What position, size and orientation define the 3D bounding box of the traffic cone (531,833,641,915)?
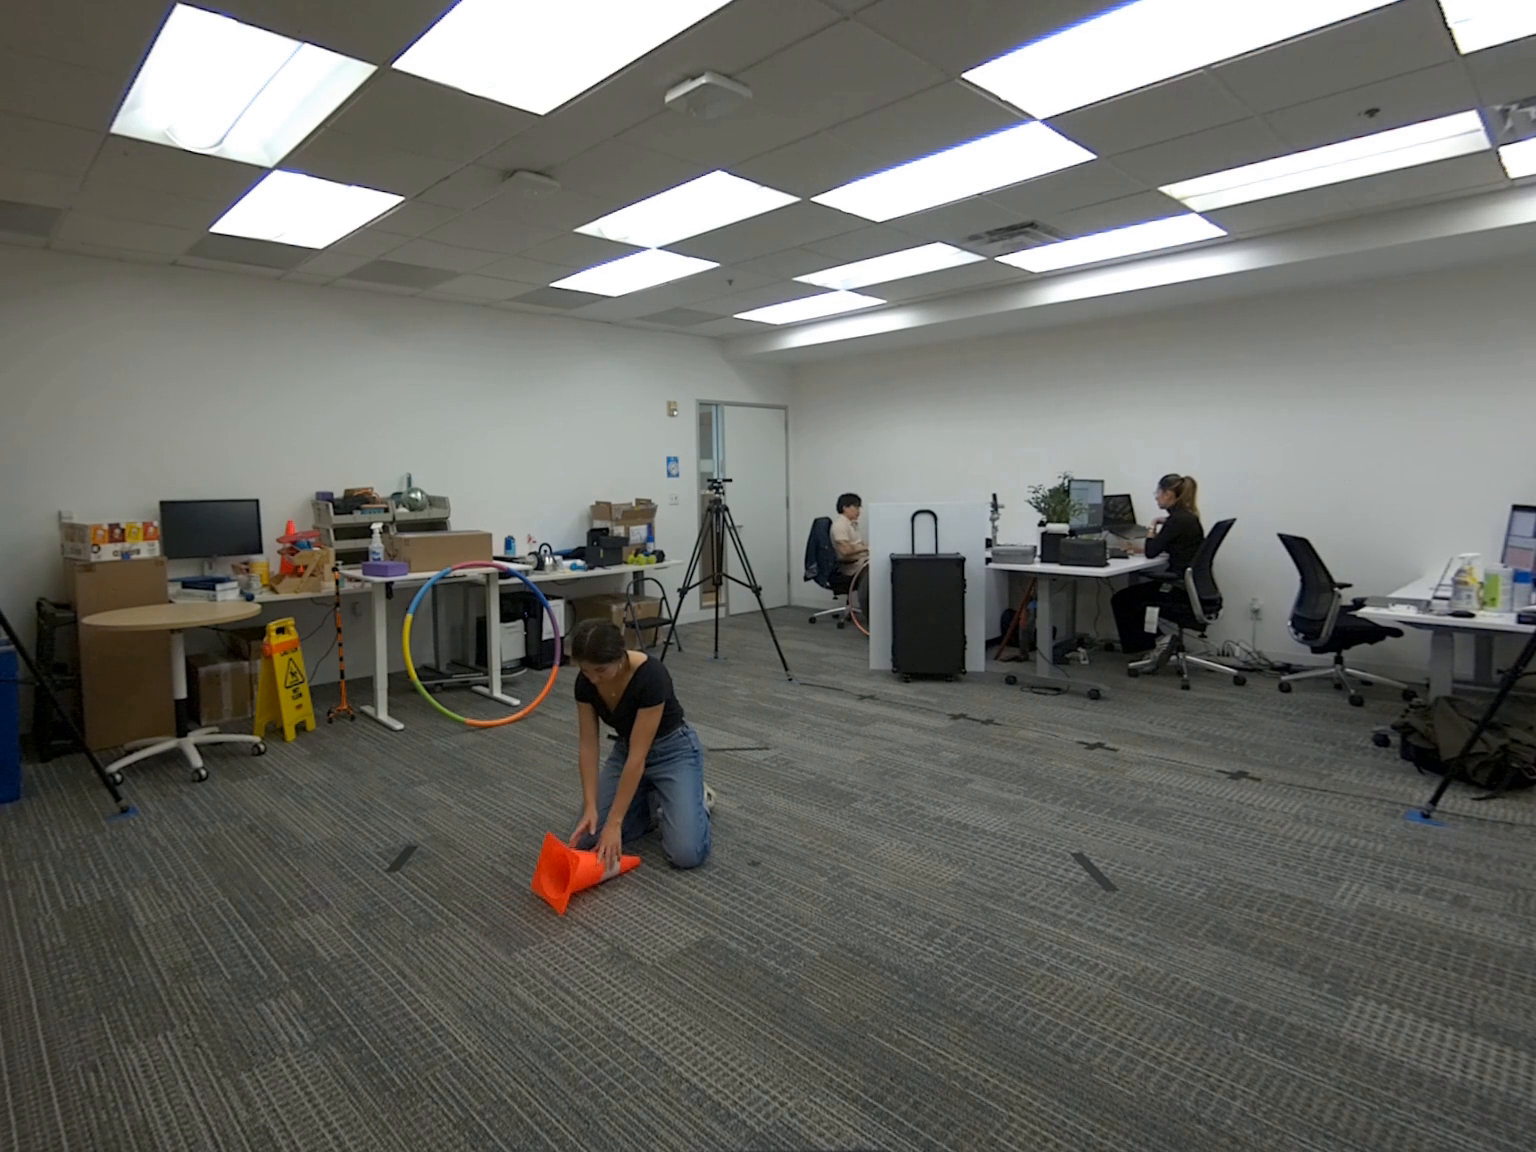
[{"bbox_3d":[-0.594,1.016,2.981,0.210,0.205,0.371,16,3,41],"label":"traffic cone"}]
